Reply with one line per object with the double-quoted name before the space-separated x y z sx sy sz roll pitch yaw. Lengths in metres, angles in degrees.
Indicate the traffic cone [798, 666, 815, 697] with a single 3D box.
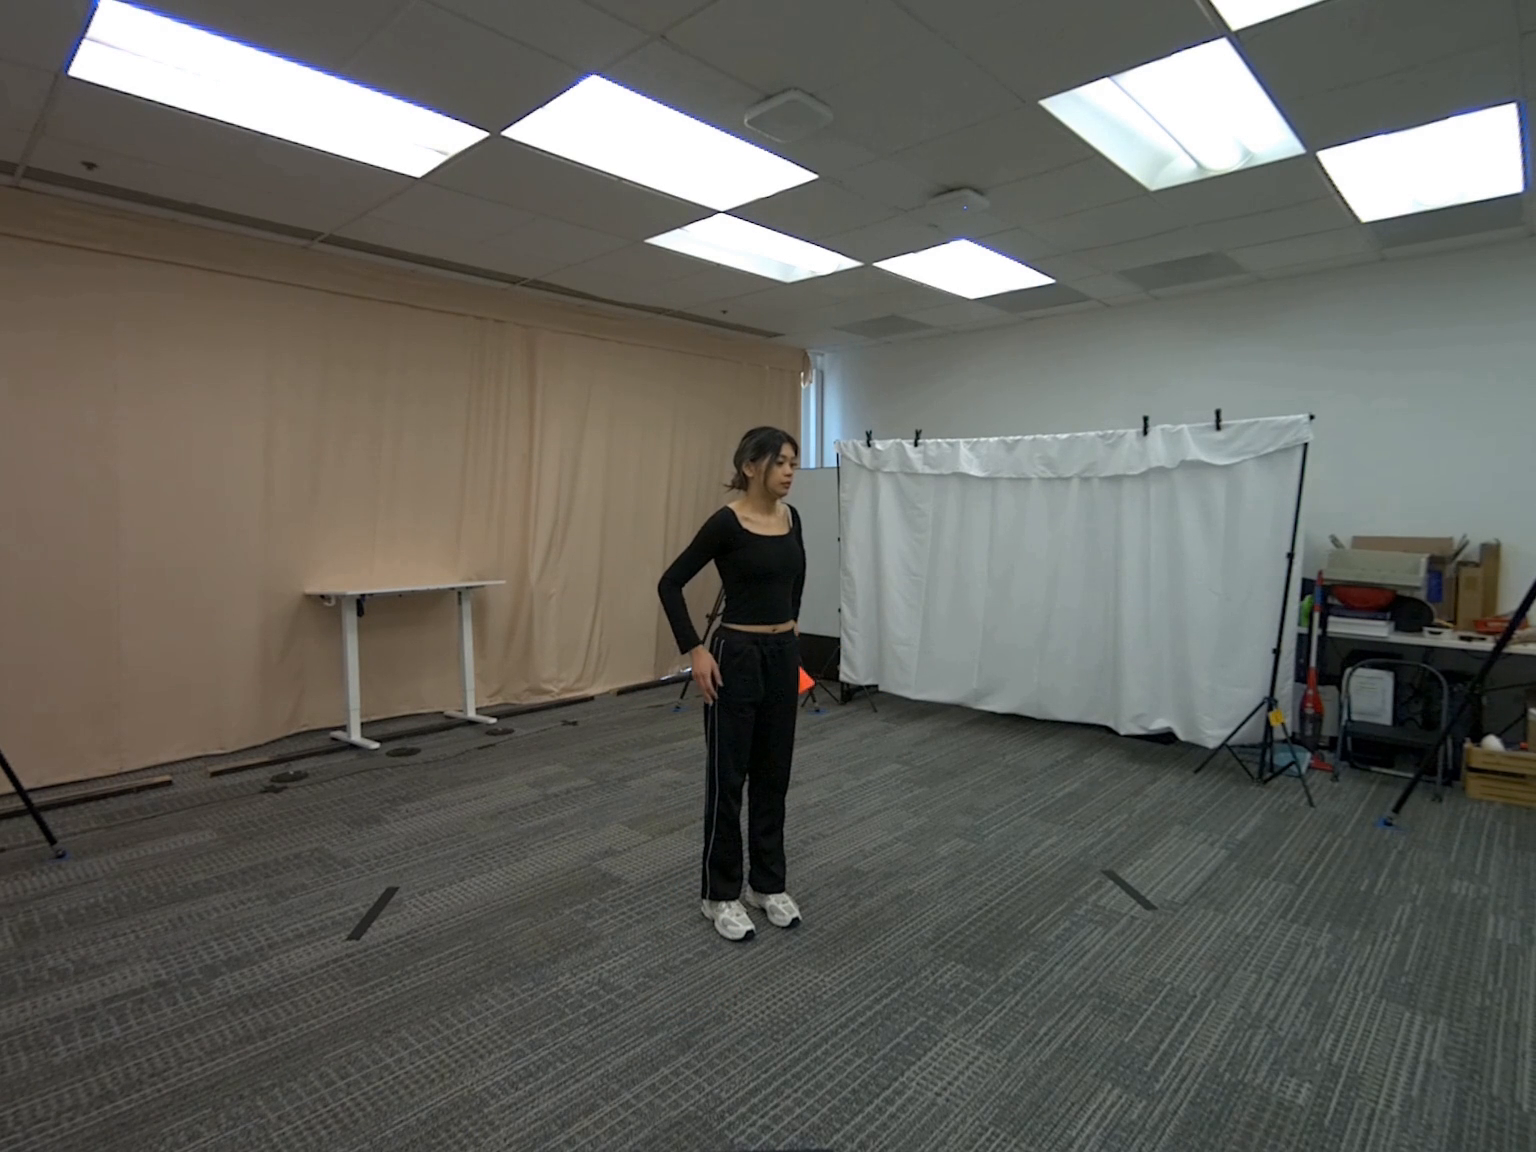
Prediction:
"traffic cone" 0.034 0.257 3.059 0.202 0.376 0.210 -21 47 -19
